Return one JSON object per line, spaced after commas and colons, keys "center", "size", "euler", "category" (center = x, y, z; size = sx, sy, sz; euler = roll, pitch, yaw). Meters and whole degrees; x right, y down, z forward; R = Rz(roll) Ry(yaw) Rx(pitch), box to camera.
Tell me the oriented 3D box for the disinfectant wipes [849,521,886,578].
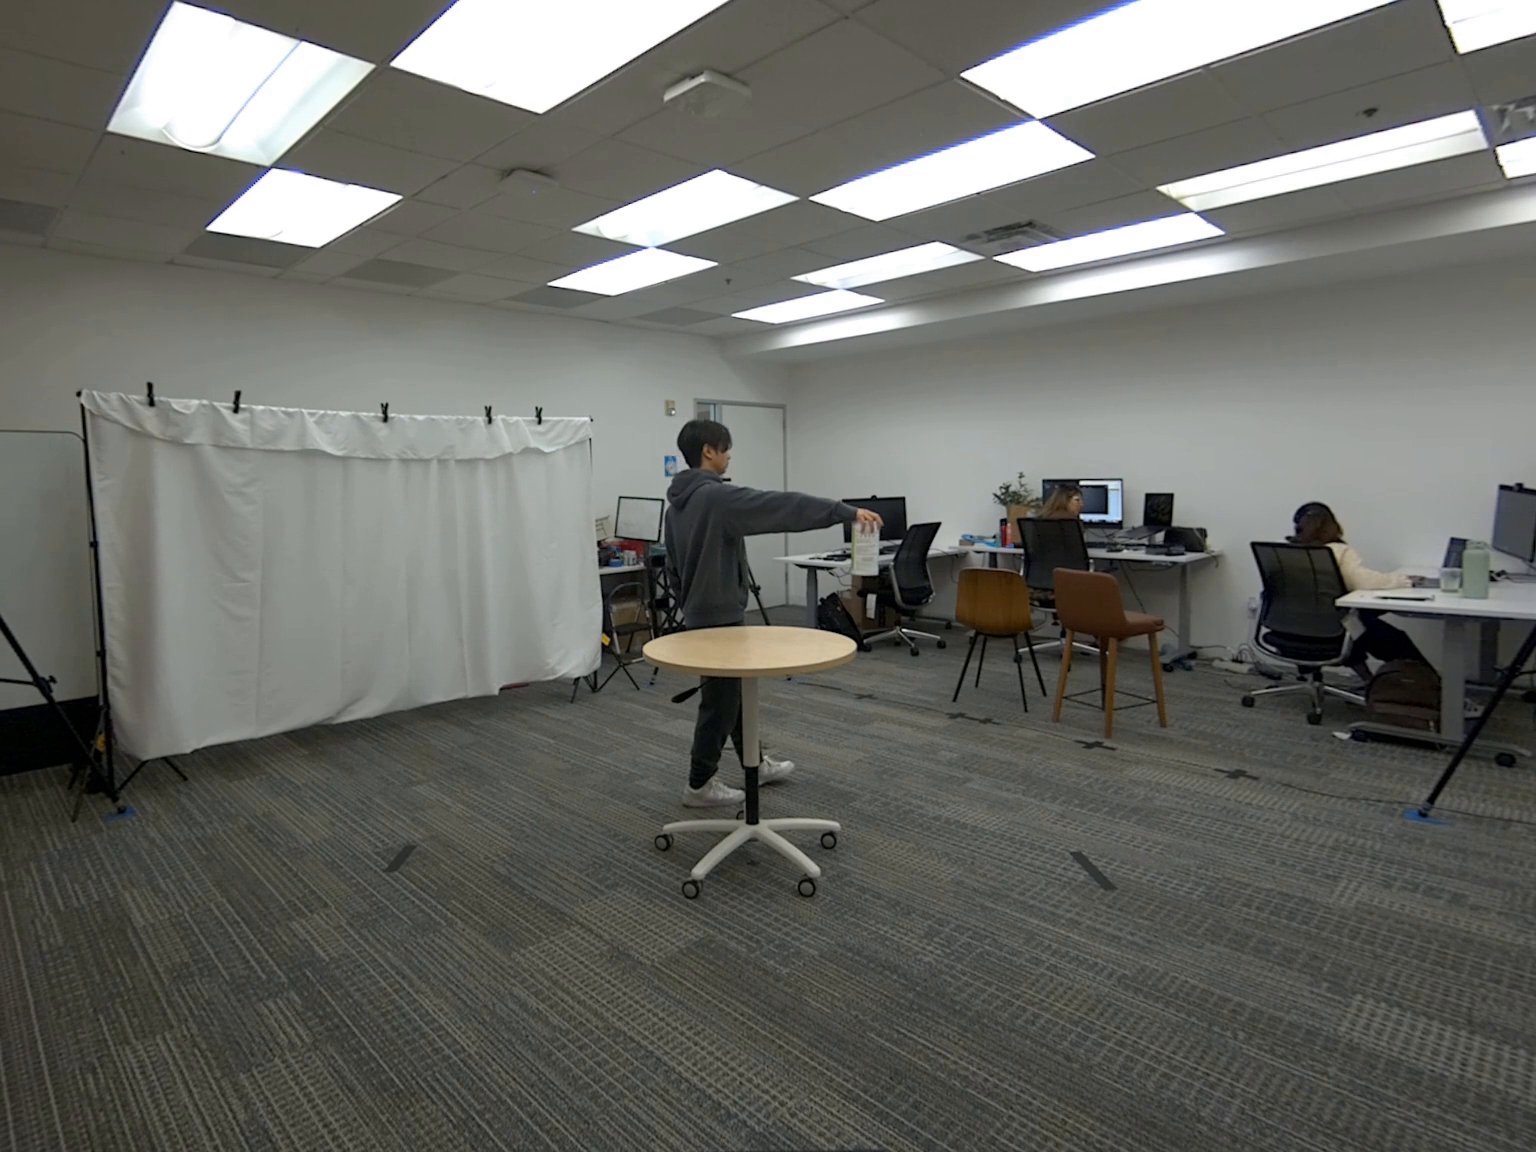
{"center": [0.392, -0.110, 3.407], "size": [0.118, 0.217, 0.118], "euler": [2, 3, -2], "category": "disinfectant wipes"}
